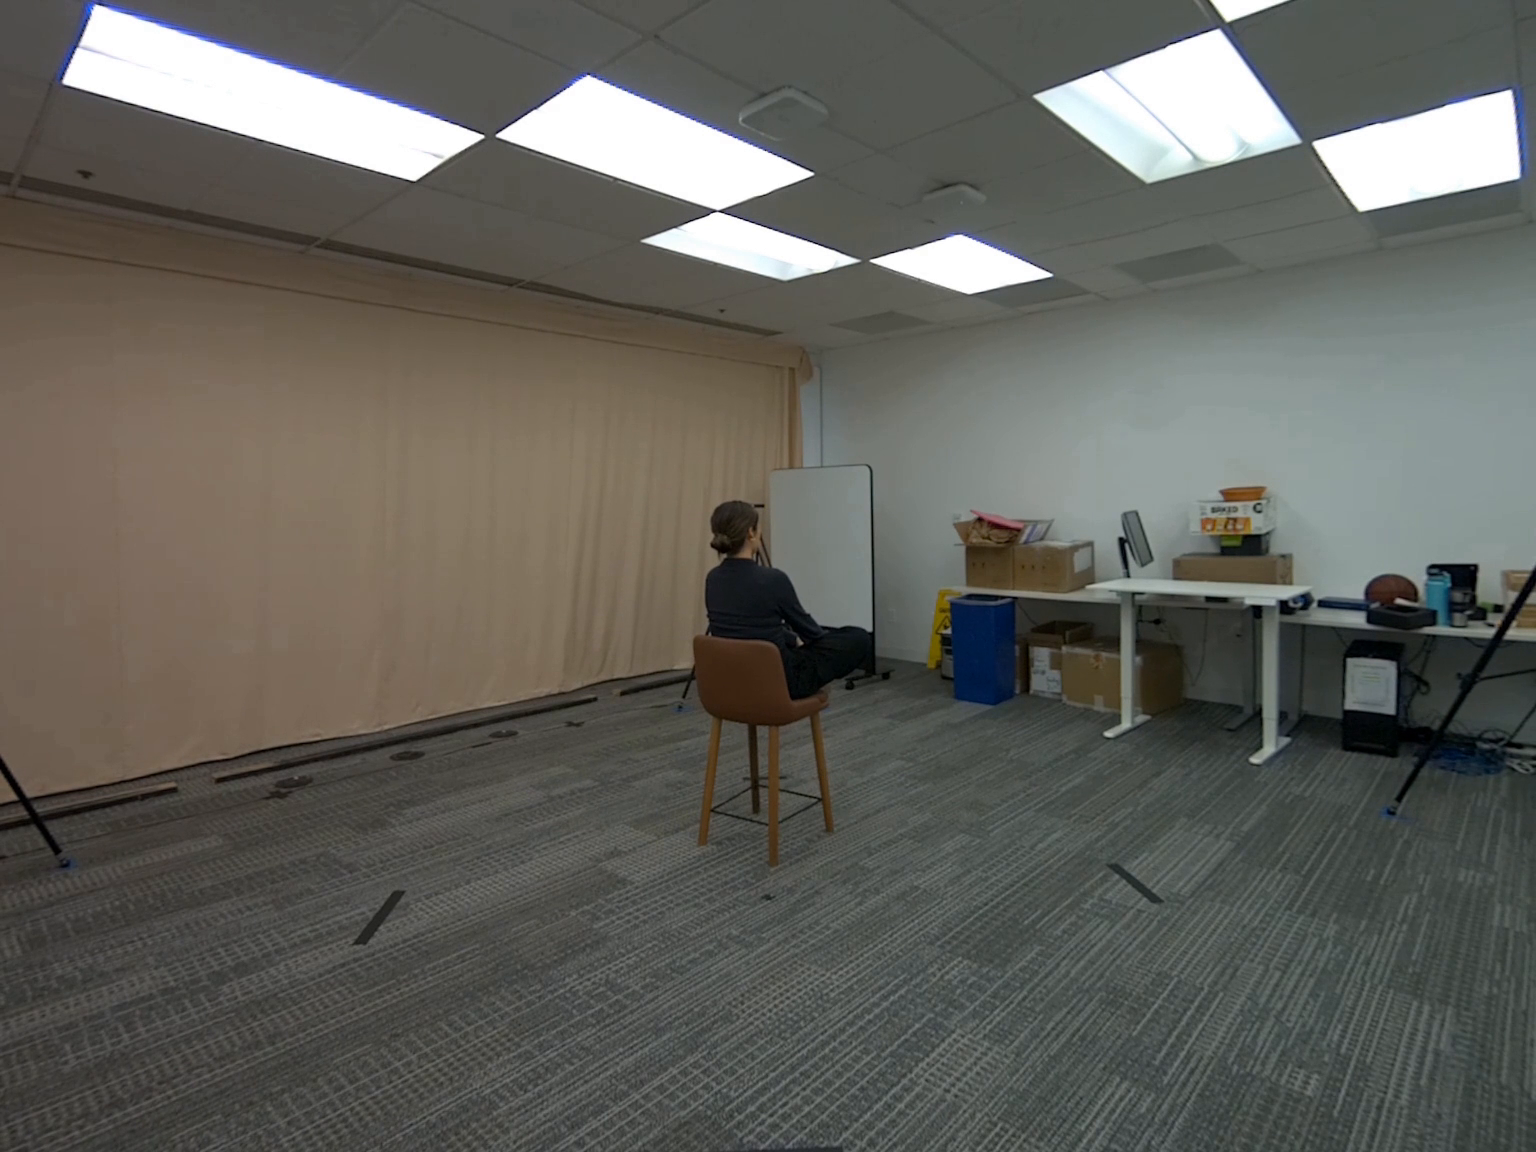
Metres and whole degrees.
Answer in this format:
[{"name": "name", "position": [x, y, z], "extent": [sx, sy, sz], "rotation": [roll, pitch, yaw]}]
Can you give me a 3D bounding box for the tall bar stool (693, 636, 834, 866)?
[{"name": "tall bar stool", "position": [-0.023, 0.662, 3.498], "extent": [0.471, 0.887, 0.455], "rotation": [1, 6, 35]}]
